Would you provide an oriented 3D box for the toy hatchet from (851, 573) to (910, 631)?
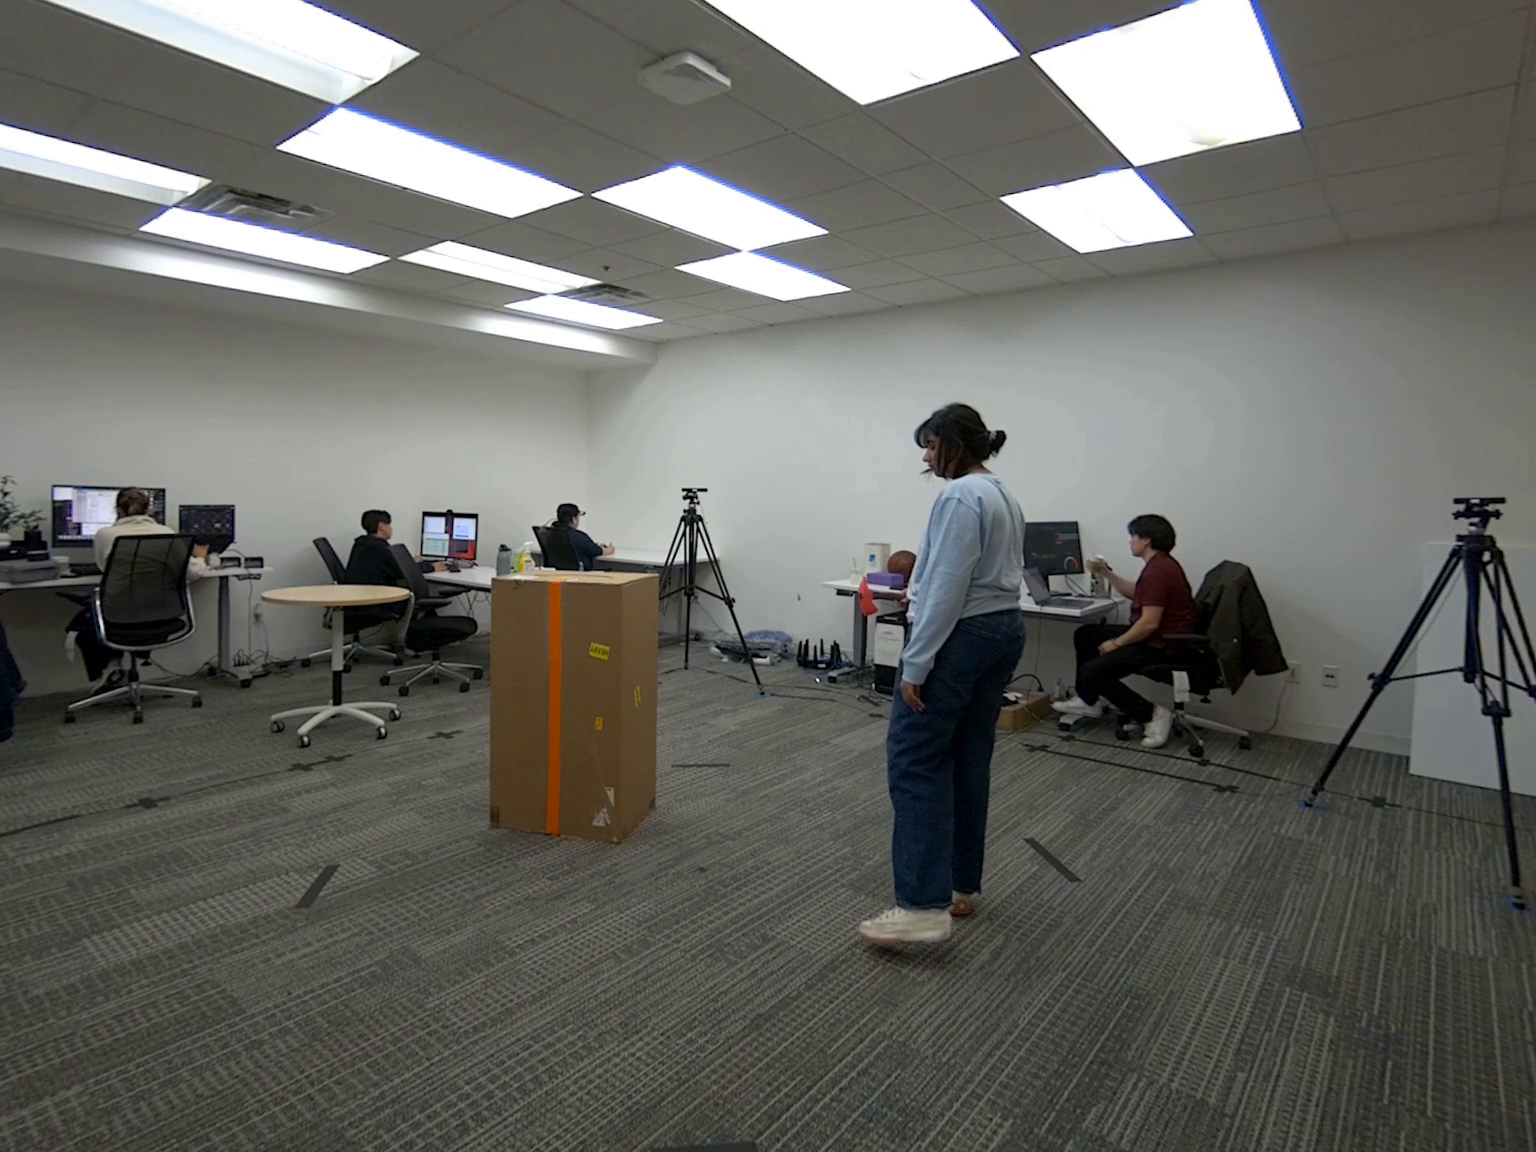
[{"bbox_3d":[0.421,0.096,2.976,0.262,0.133,0.030,20,-21,-24],"label":"toy hatchet"}]
